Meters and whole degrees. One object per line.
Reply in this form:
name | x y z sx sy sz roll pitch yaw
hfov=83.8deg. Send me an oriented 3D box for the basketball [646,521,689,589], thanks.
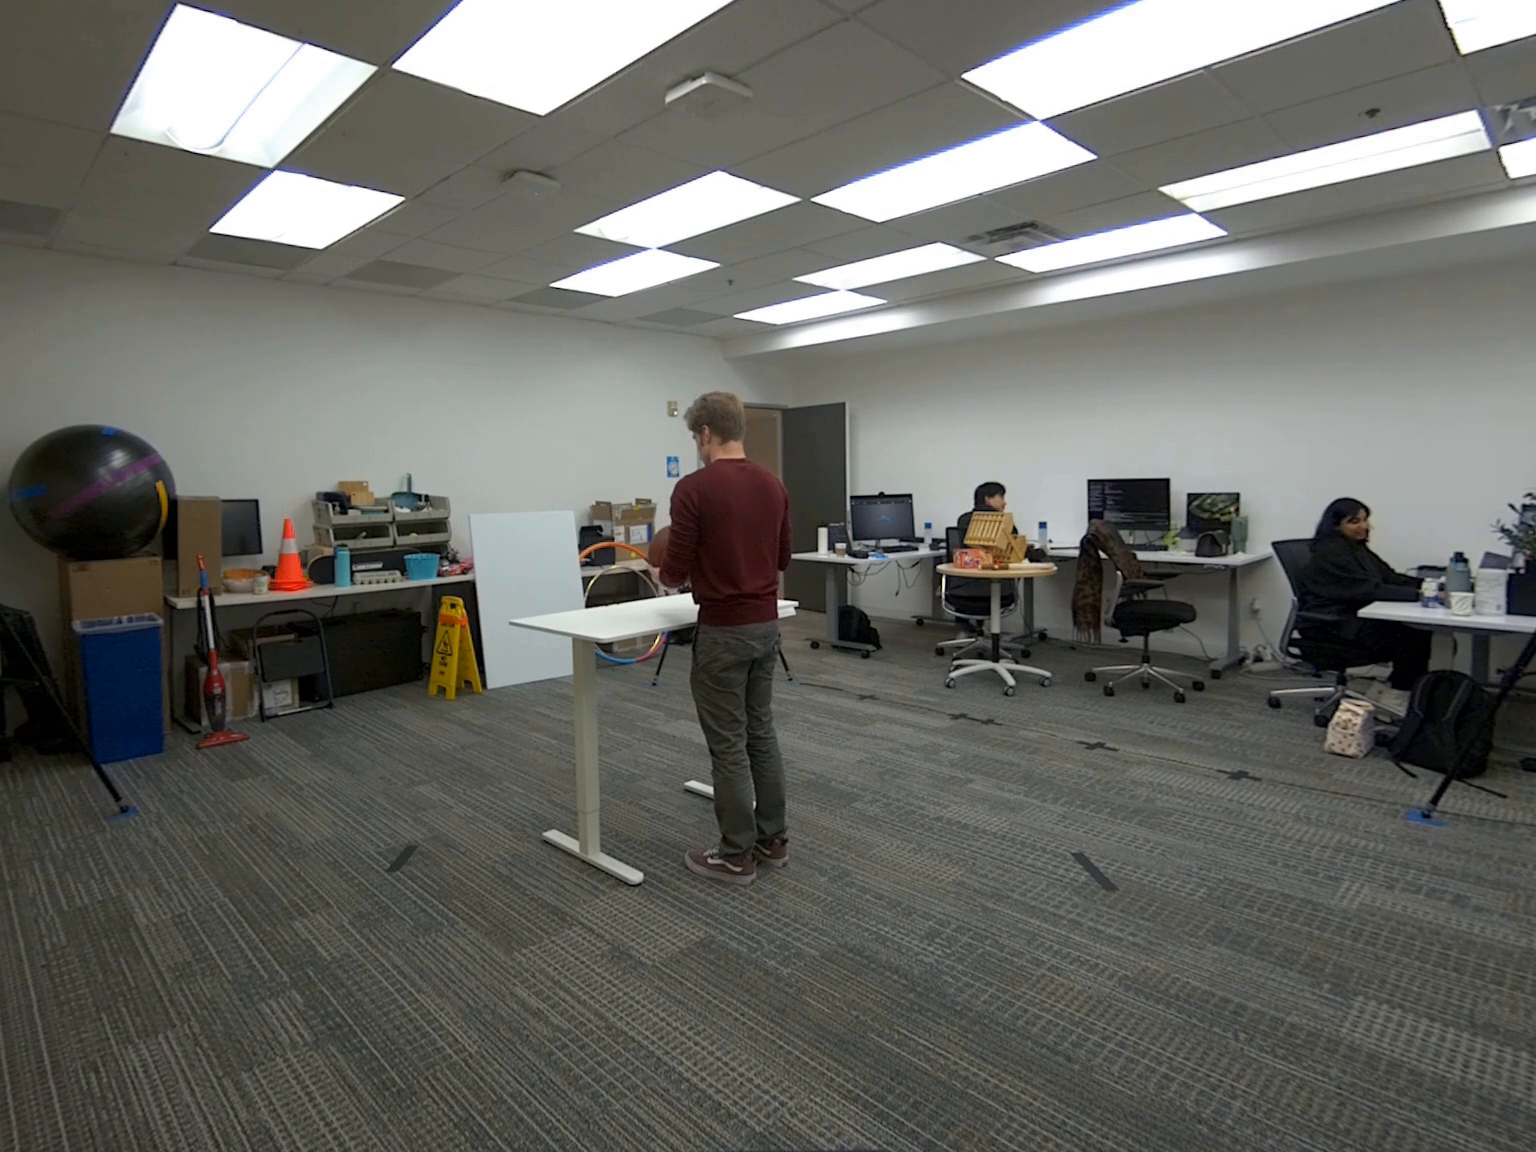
basketball | -0.336 -0.088 3.272 0.236 0.235 0.237 -1 5 -2
